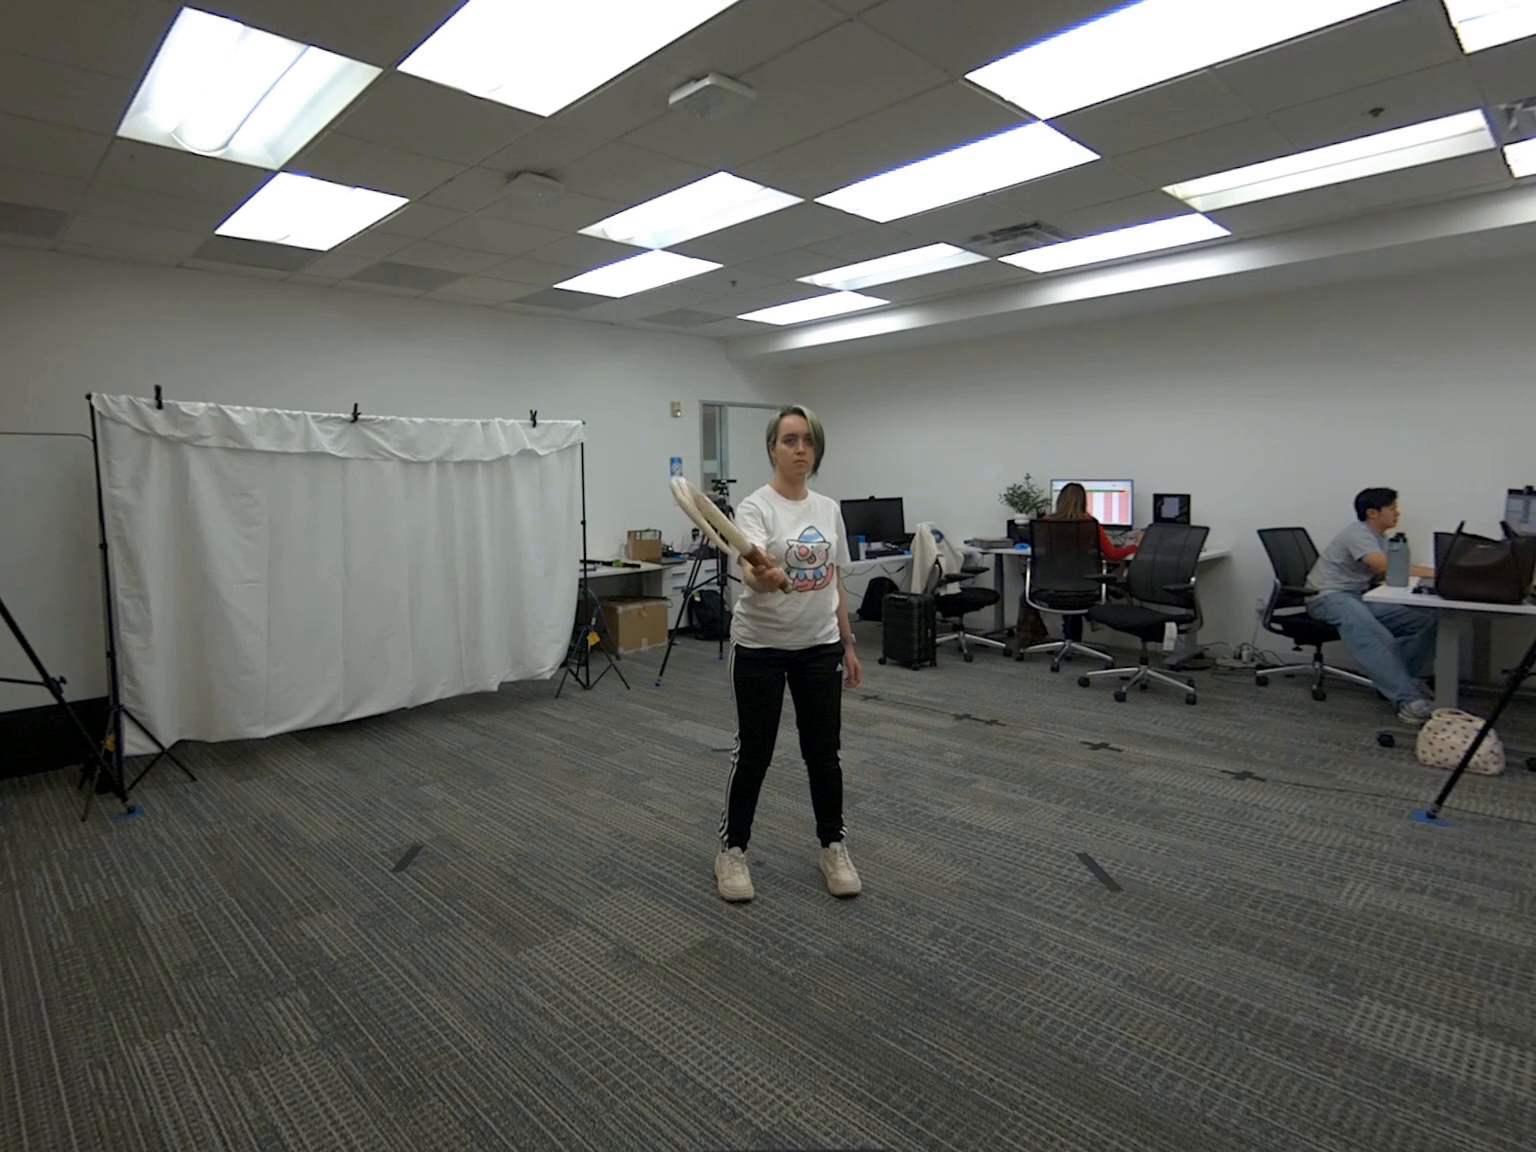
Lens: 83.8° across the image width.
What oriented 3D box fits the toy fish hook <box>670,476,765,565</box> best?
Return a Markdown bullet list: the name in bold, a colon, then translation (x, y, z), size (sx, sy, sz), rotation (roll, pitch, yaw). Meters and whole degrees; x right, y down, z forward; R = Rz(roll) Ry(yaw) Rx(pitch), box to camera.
- **toy fish hook**: translation (-0.070, -0.062, 2.190), size (0.048, 0.489, 0.232), rotation (-37, 33, 16)
